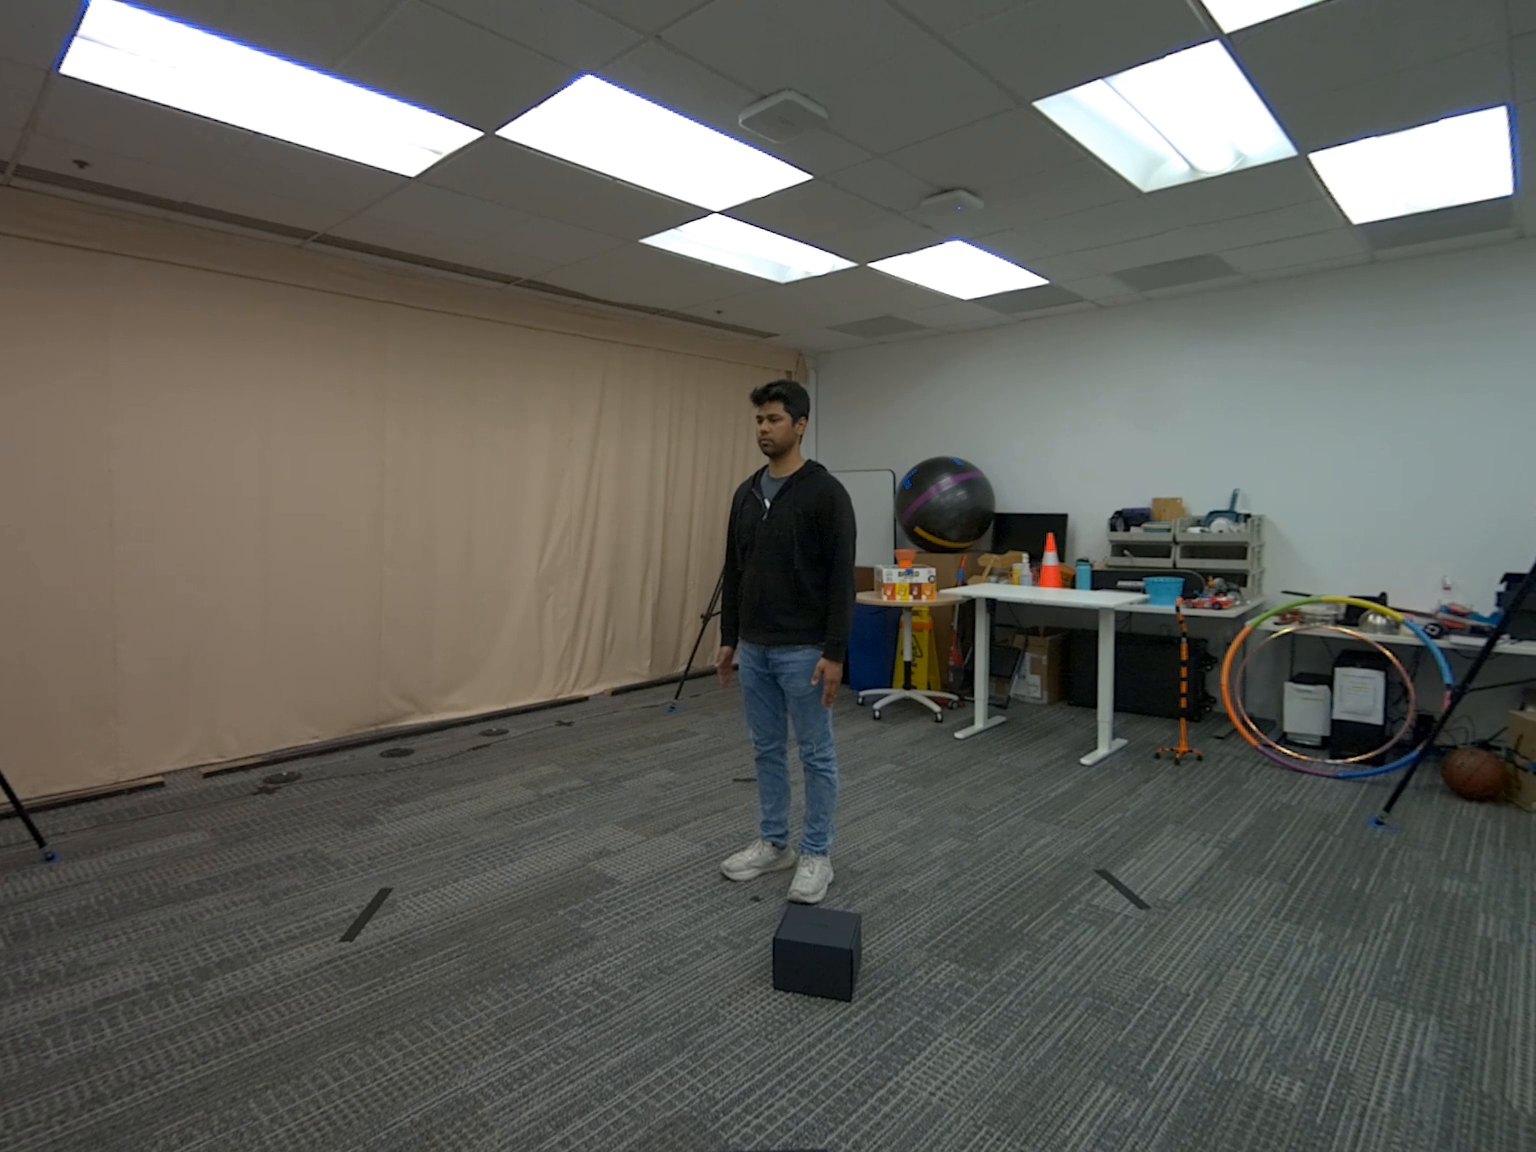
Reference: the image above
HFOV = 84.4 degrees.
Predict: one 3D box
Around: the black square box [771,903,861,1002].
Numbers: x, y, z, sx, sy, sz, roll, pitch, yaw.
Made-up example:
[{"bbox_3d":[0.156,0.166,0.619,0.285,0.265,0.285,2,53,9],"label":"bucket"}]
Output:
[{"bbox_3d":[0.151,1.094,2.487,0.232,0.155,0.214,1,4,15],"label":"black square box"}]
